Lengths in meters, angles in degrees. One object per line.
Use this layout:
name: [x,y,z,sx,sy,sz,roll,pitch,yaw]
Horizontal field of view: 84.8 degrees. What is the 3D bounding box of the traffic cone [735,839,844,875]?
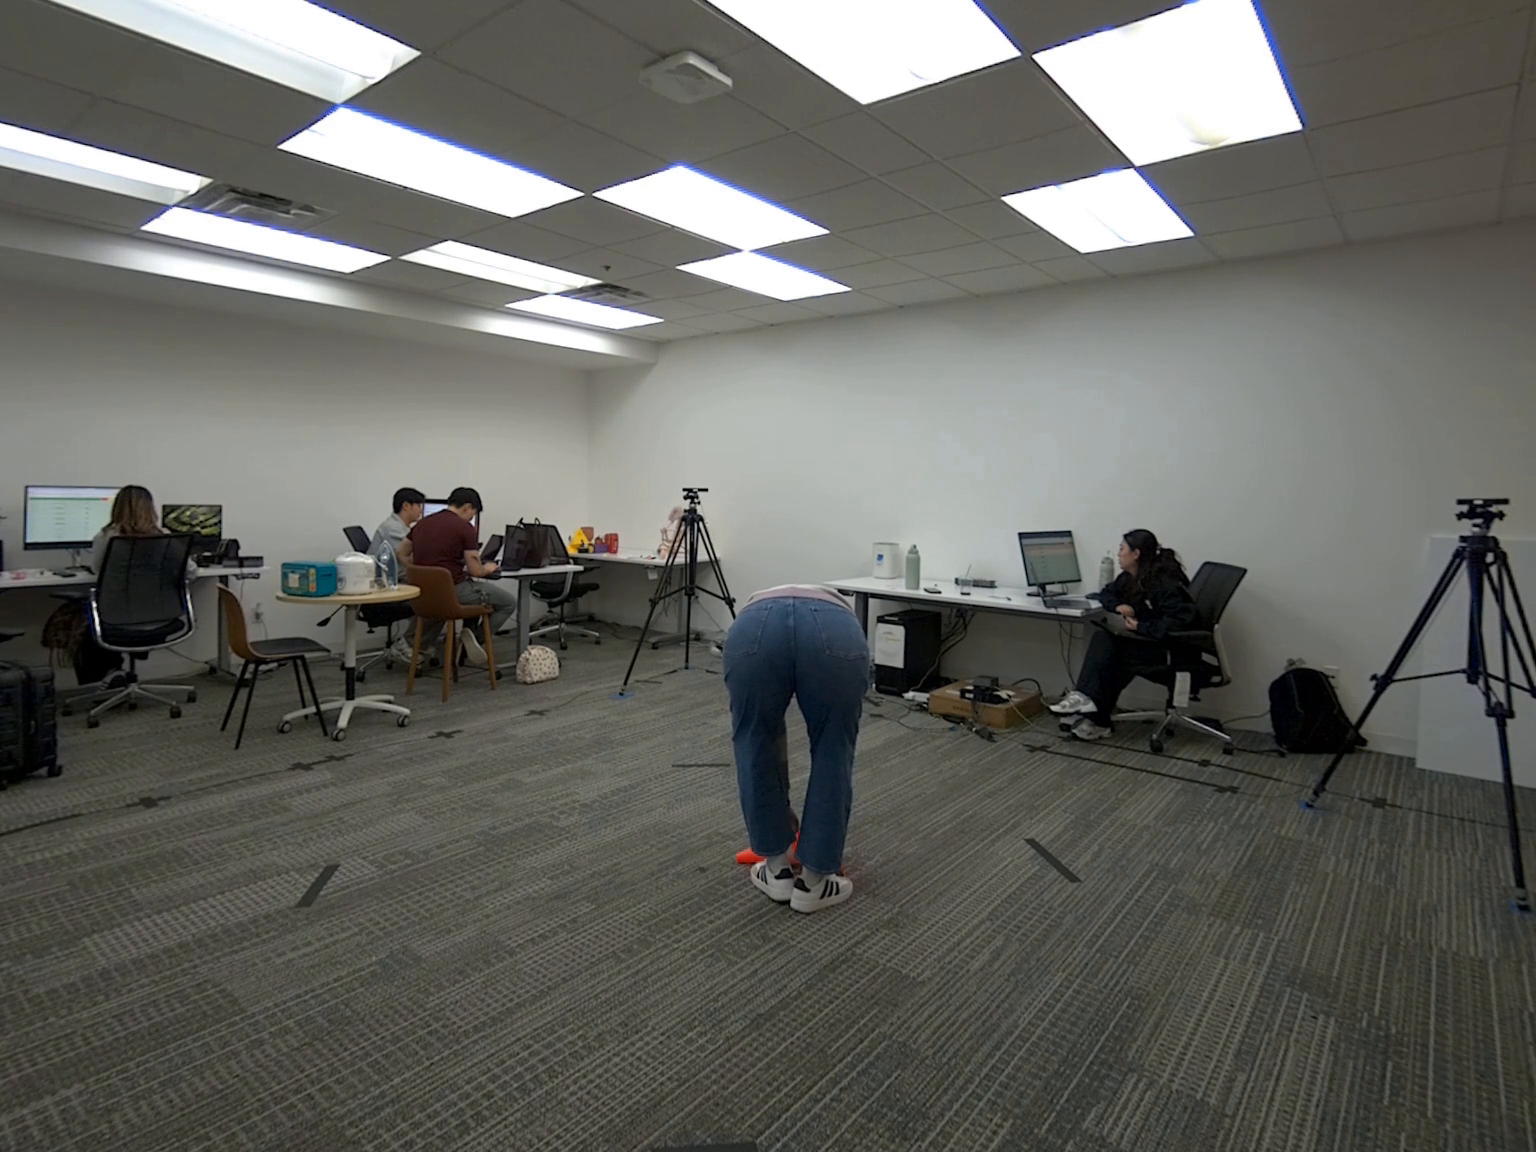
traffic cone: [0.058,0.998,3.175,0.385,0.202,0.206,-9,7,3]
